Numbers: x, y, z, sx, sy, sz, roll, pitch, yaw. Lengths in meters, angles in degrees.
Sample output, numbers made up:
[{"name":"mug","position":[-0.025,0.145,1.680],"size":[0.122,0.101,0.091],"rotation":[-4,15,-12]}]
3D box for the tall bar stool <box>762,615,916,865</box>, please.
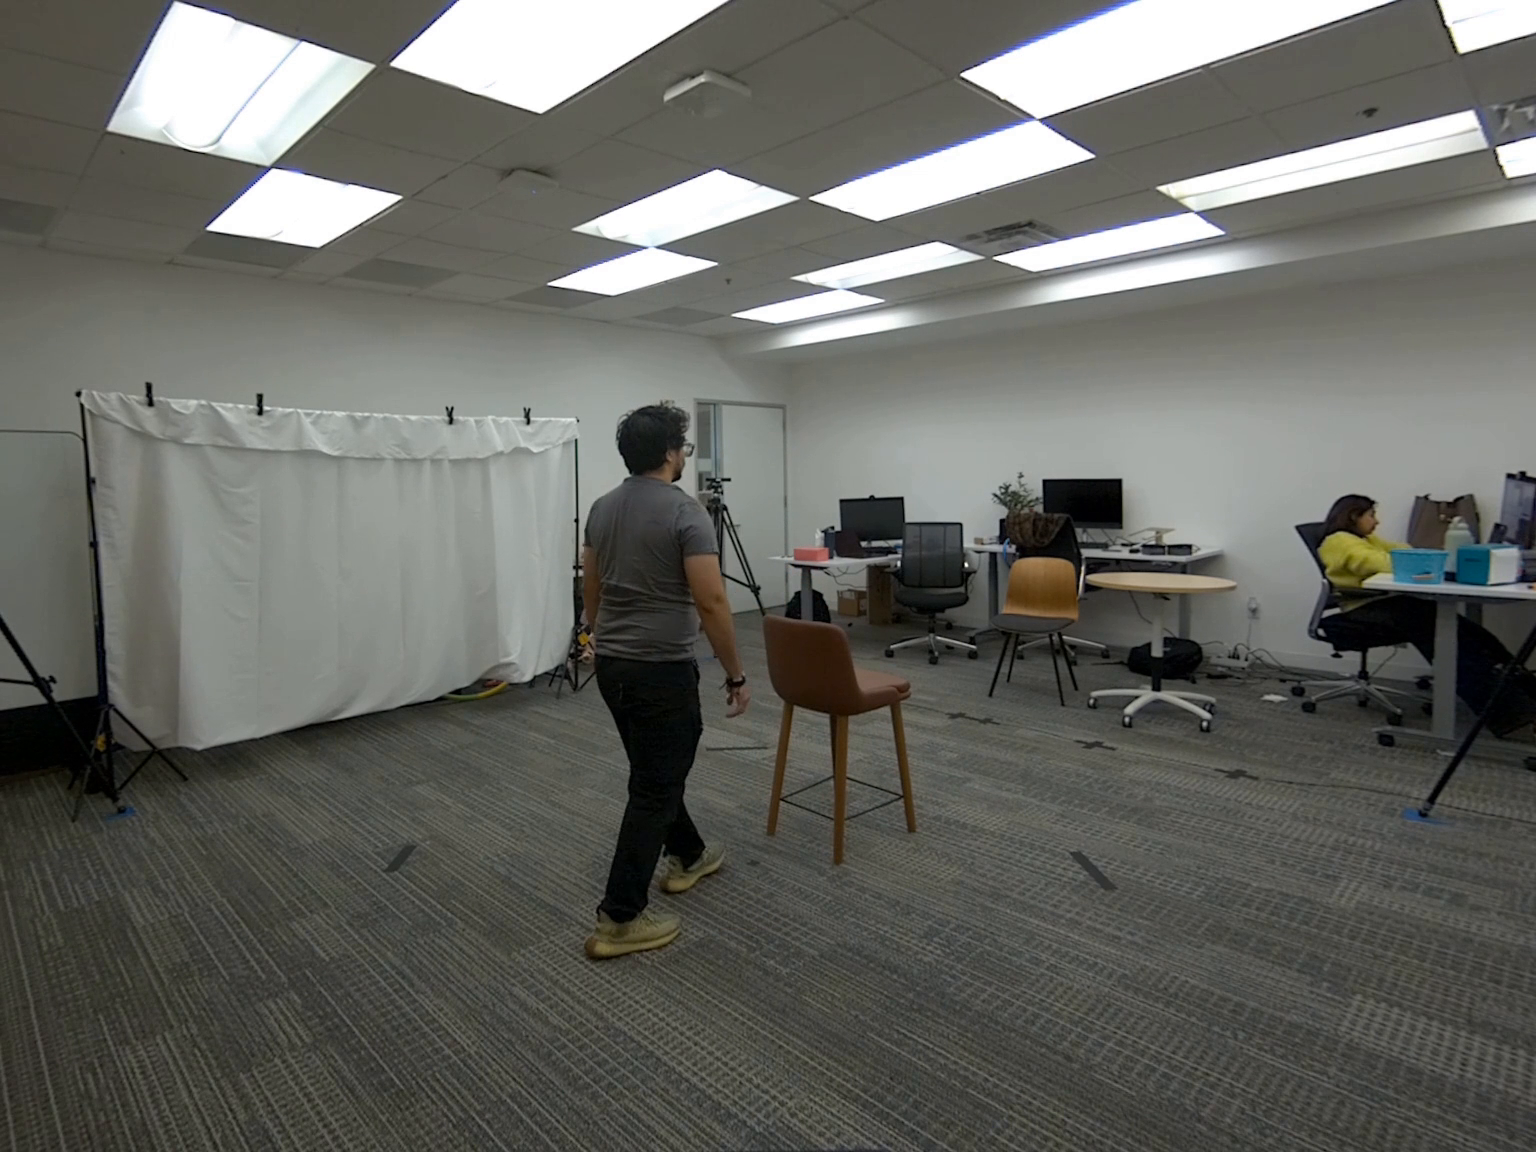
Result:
[{"name":"tall bar stool","position":[0.273,0.577,3.331],"size":[0.456,0.885,0.471],"rotation":[-7,8,-42]}]
